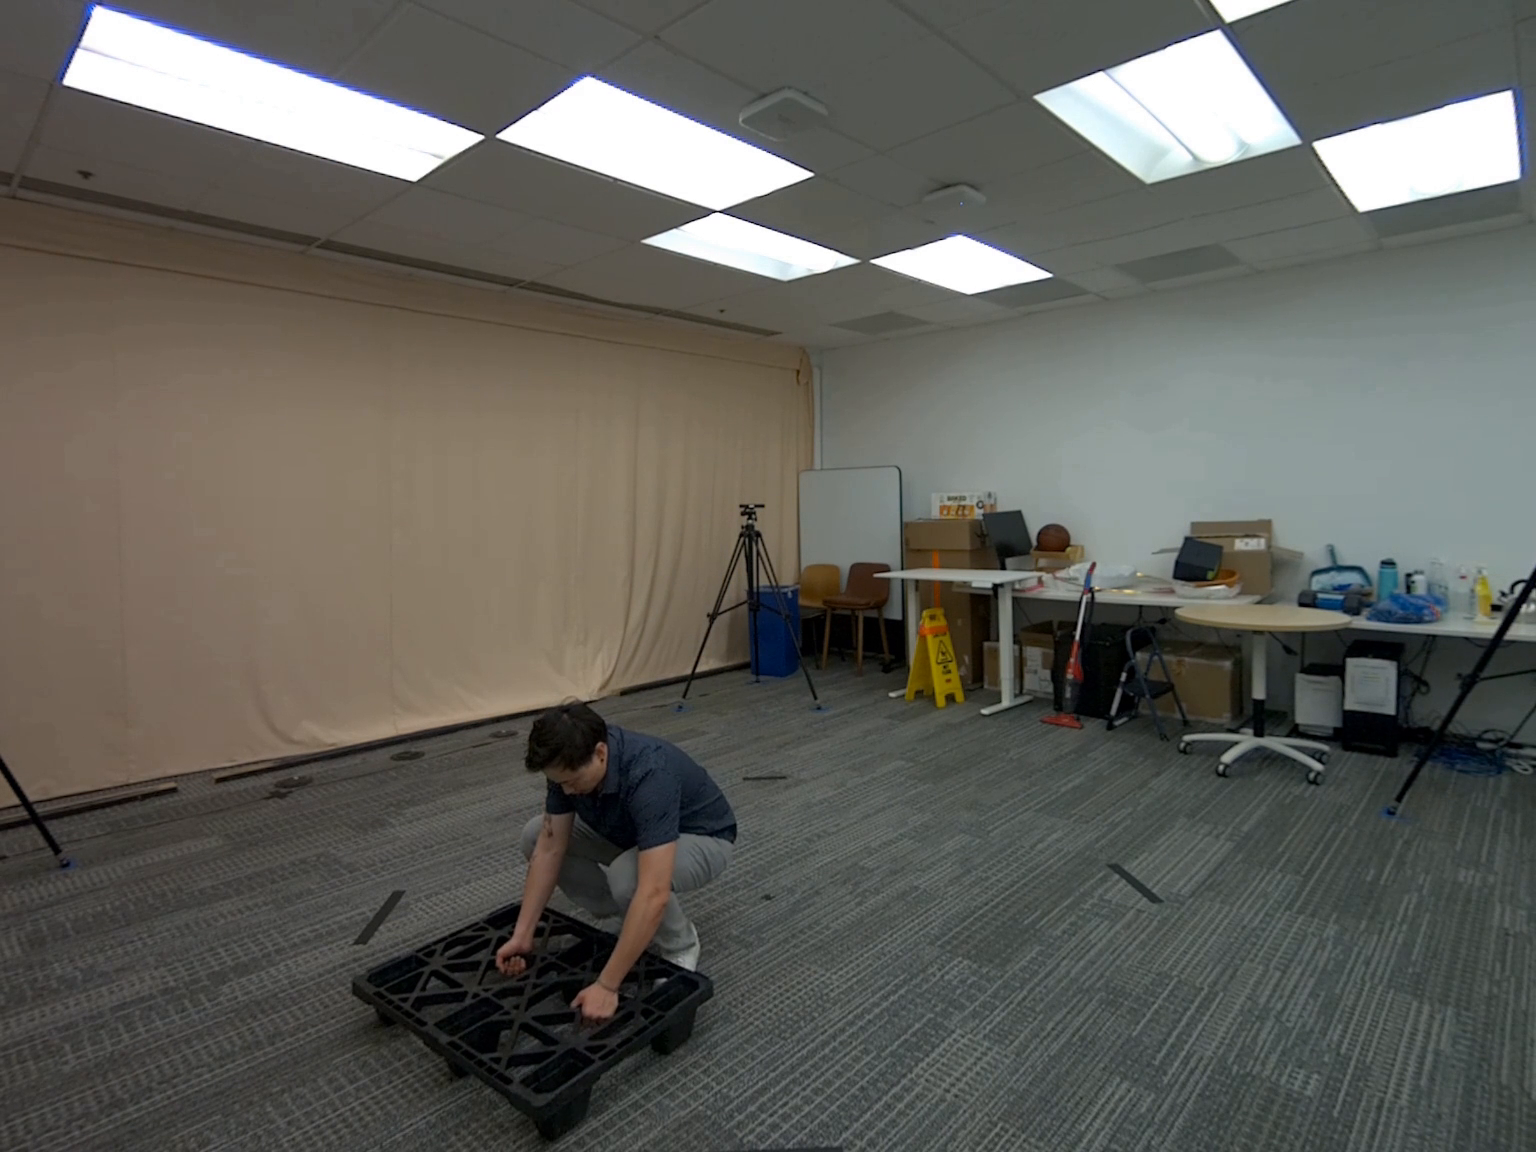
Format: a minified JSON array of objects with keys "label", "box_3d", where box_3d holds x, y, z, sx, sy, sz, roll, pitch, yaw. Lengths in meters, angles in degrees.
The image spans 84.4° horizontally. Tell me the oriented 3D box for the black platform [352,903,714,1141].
[{"label":"black platform","box_3d":[-0.637,1.145,2.246,0.832,0.143,0.587,3,6,38]}]
